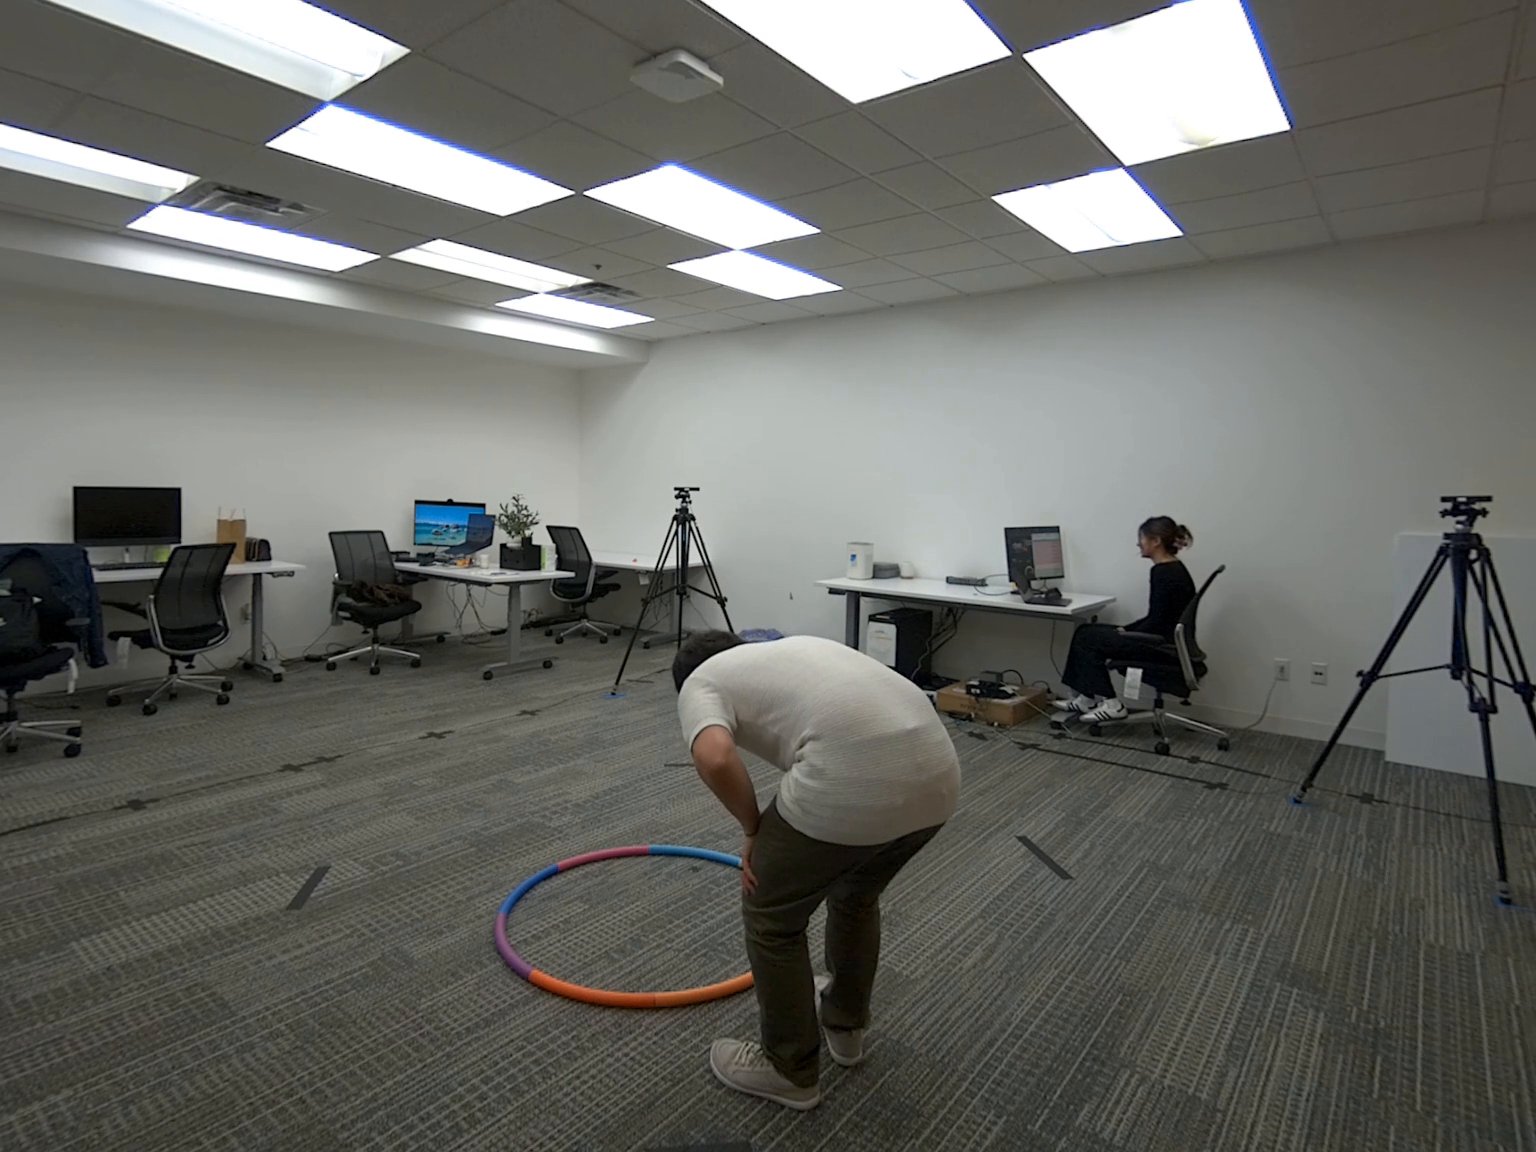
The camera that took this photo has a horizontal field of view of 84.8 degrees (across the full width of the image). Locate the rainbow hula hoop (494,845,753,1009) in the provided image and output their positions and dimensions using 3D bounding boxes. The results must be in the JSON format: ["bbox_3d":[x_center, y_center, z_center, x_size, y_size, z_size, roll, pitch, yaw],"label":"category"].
[{"bbox_3d":[-0.383,1.069,2.752,0.978,0.035,0.984,1,6,-2],"label":"rainbow hula hoop"}]
